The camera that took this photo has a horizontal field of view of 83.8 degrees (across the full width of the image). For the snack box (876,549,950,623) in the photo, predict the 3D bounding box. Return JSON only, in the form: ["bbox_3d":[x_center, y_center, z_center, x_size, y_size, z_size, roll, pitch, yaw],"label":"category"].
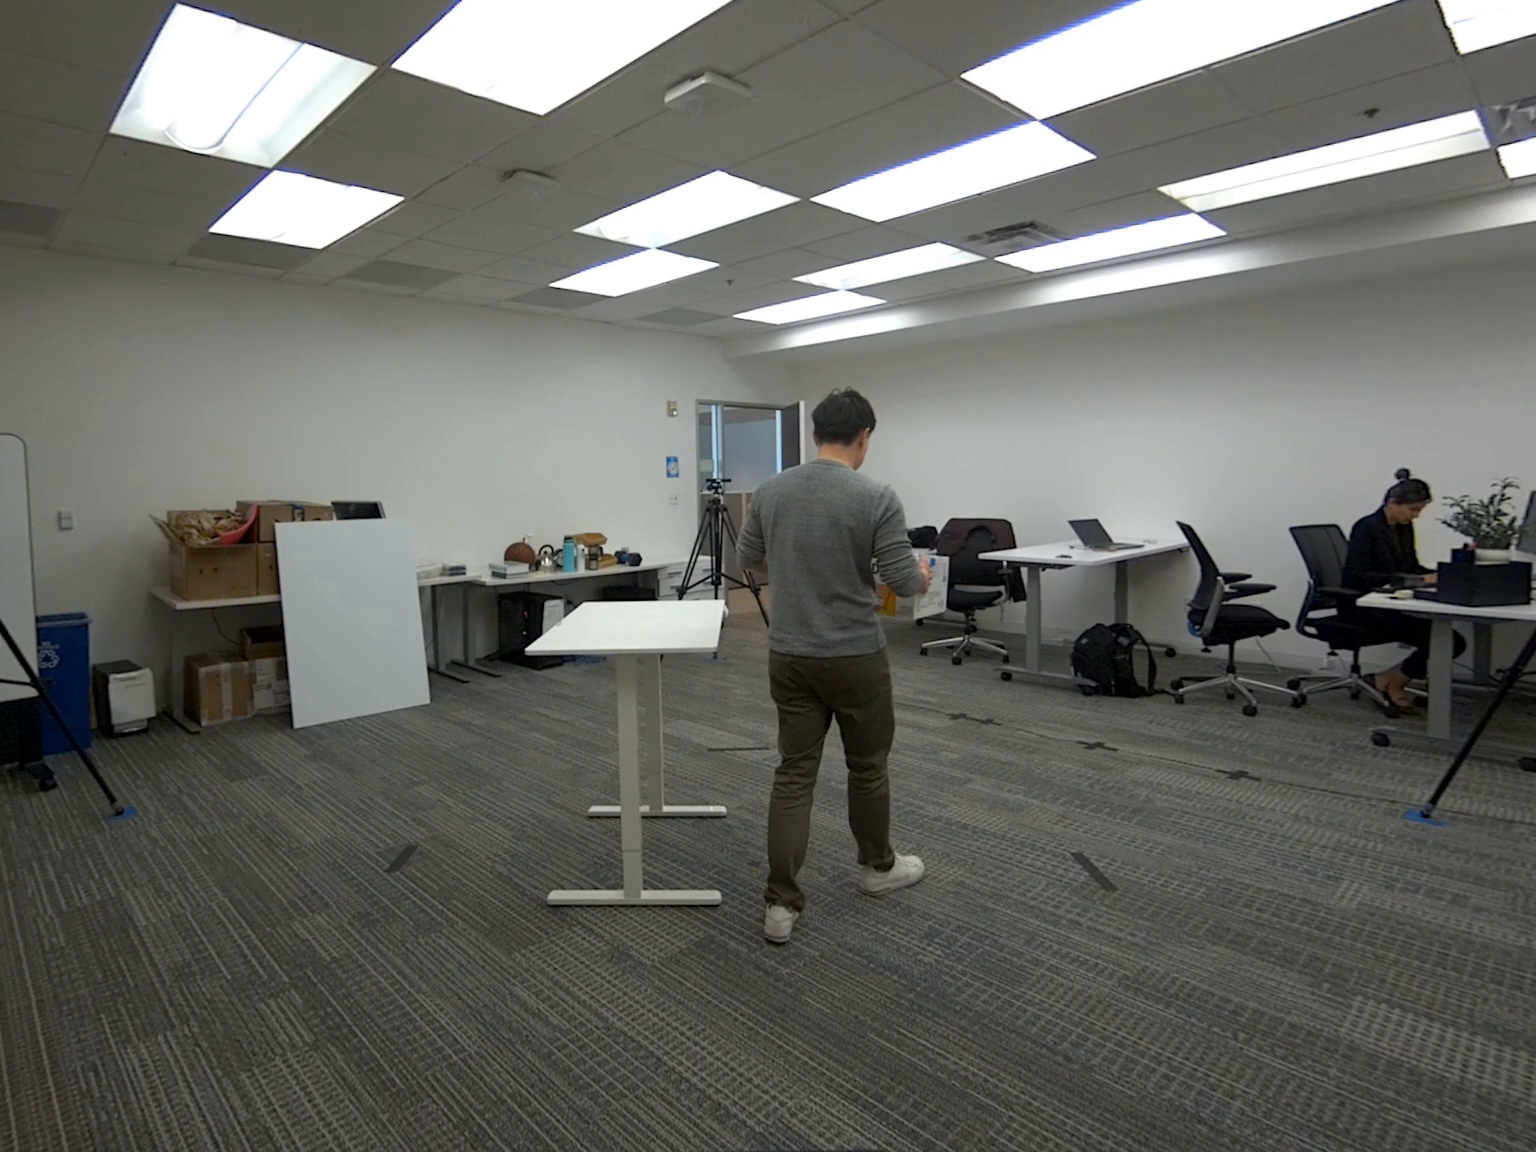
[{"bbox_3d":[0.395,0.014,3.051,0.416,0.205,0.332,6,5,30],"label":"snack box"}]
